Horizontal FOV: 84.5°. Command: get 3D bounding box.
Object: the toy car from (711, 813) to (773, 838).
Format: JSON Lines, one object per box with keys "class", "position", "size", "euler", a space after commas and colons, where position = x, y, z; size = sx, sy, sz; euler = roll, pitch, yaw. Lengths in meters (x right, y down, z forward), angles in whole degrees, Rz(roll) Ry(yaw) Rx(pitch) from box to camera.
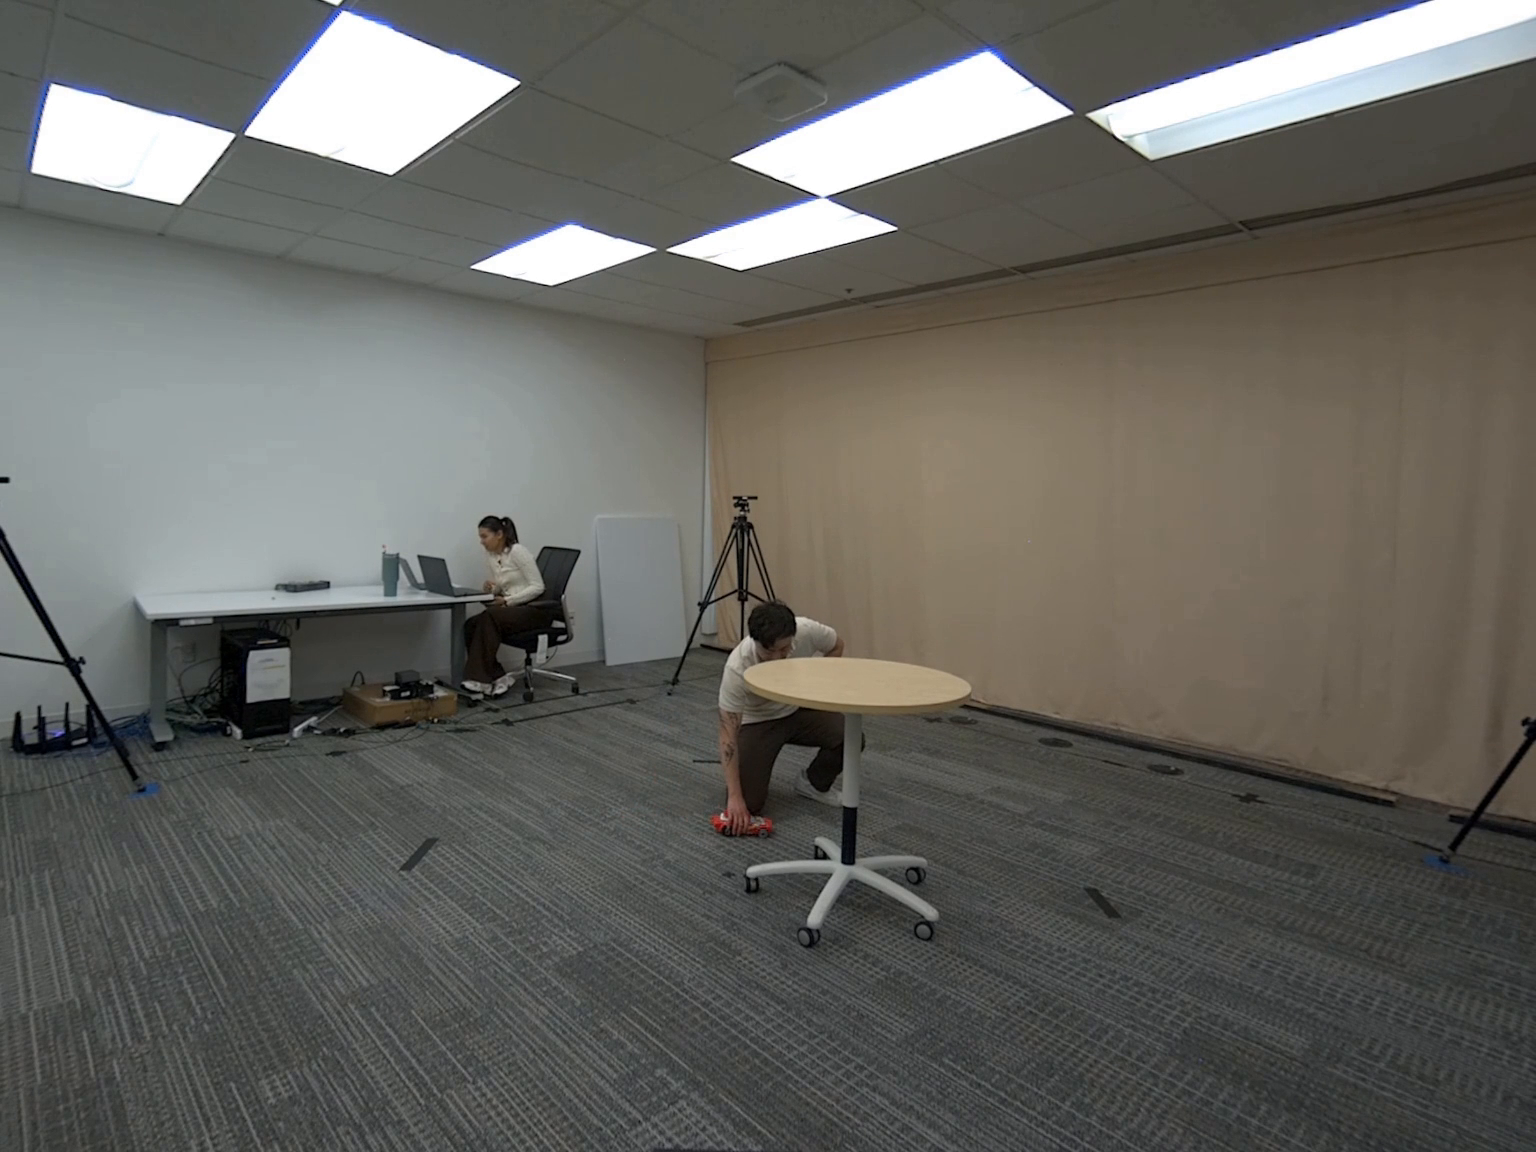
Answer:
{"class": "toy car", "position": [-0.123, 1.041, 3.512], "size": [0.255, 0.083, 0.130], "euler": [11, 5, 2]}
